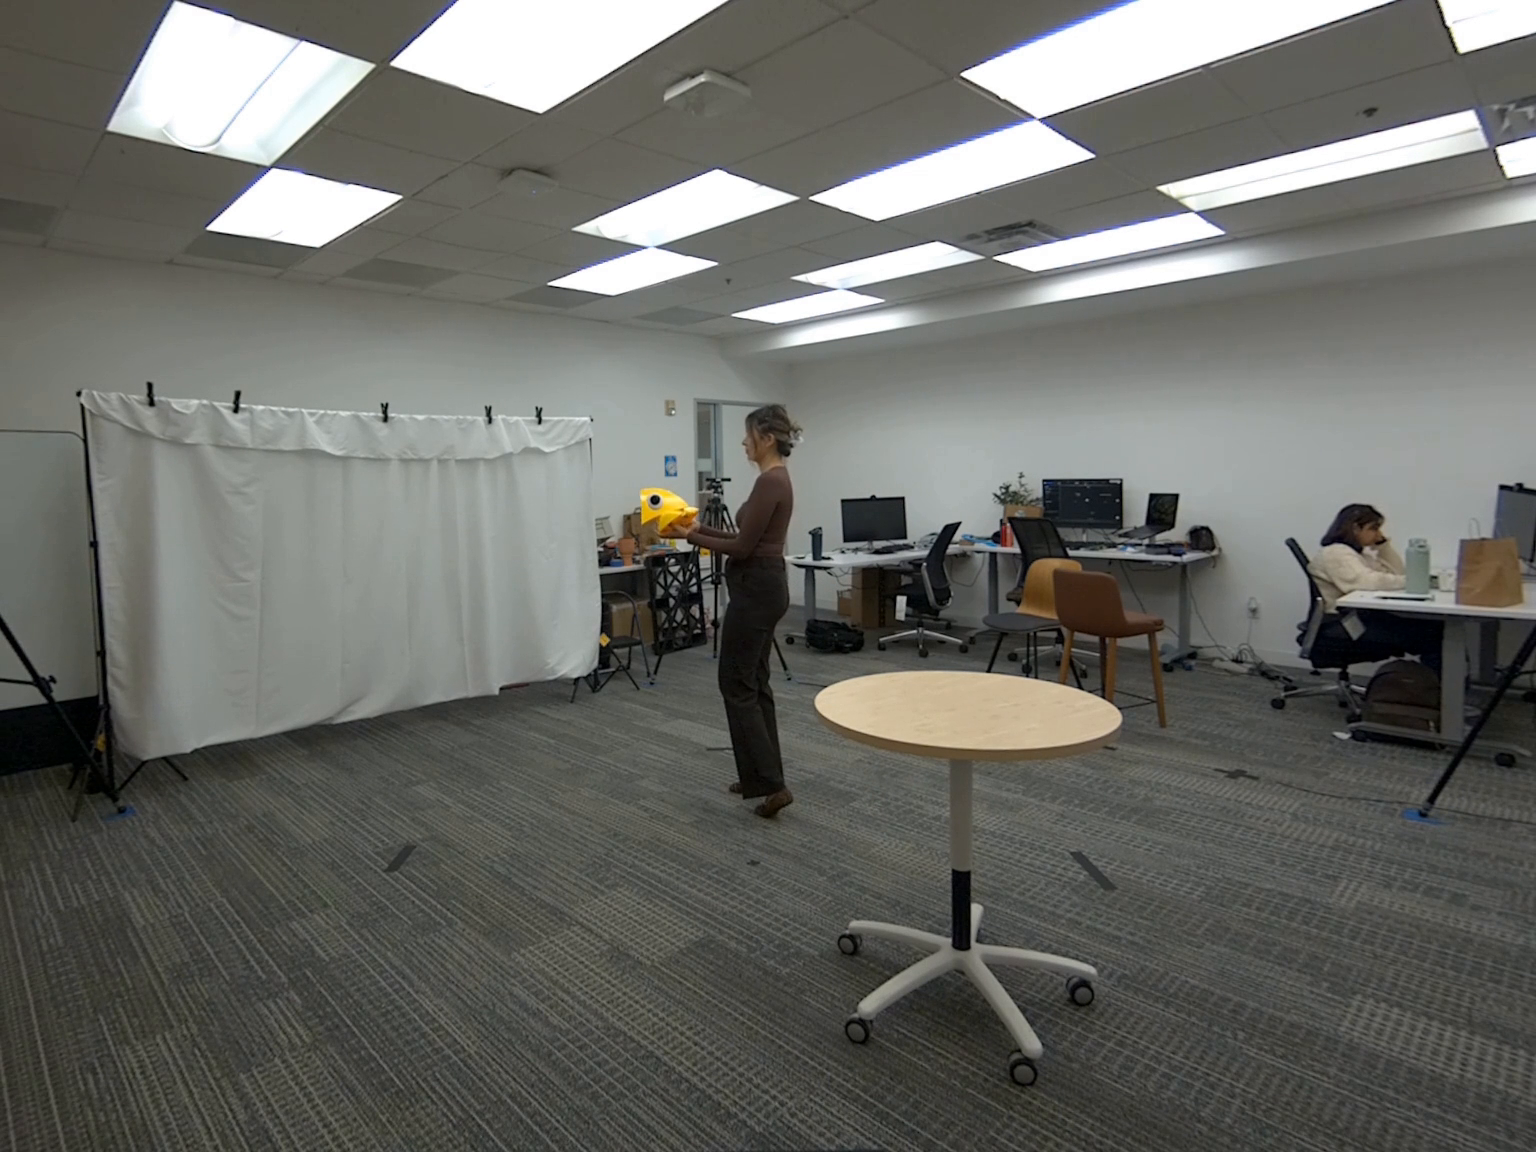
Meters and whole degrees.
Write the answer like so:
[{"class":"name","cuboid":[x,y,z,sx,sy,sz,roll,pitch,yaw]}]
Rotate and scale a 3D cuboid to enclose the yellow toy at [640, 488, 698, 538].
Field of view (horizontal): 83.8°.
[{"class":"yellow toy","cuboid":[-0.452,-0.323,3.732,0.194,0.234,0.201,-40,-12,29]}]
